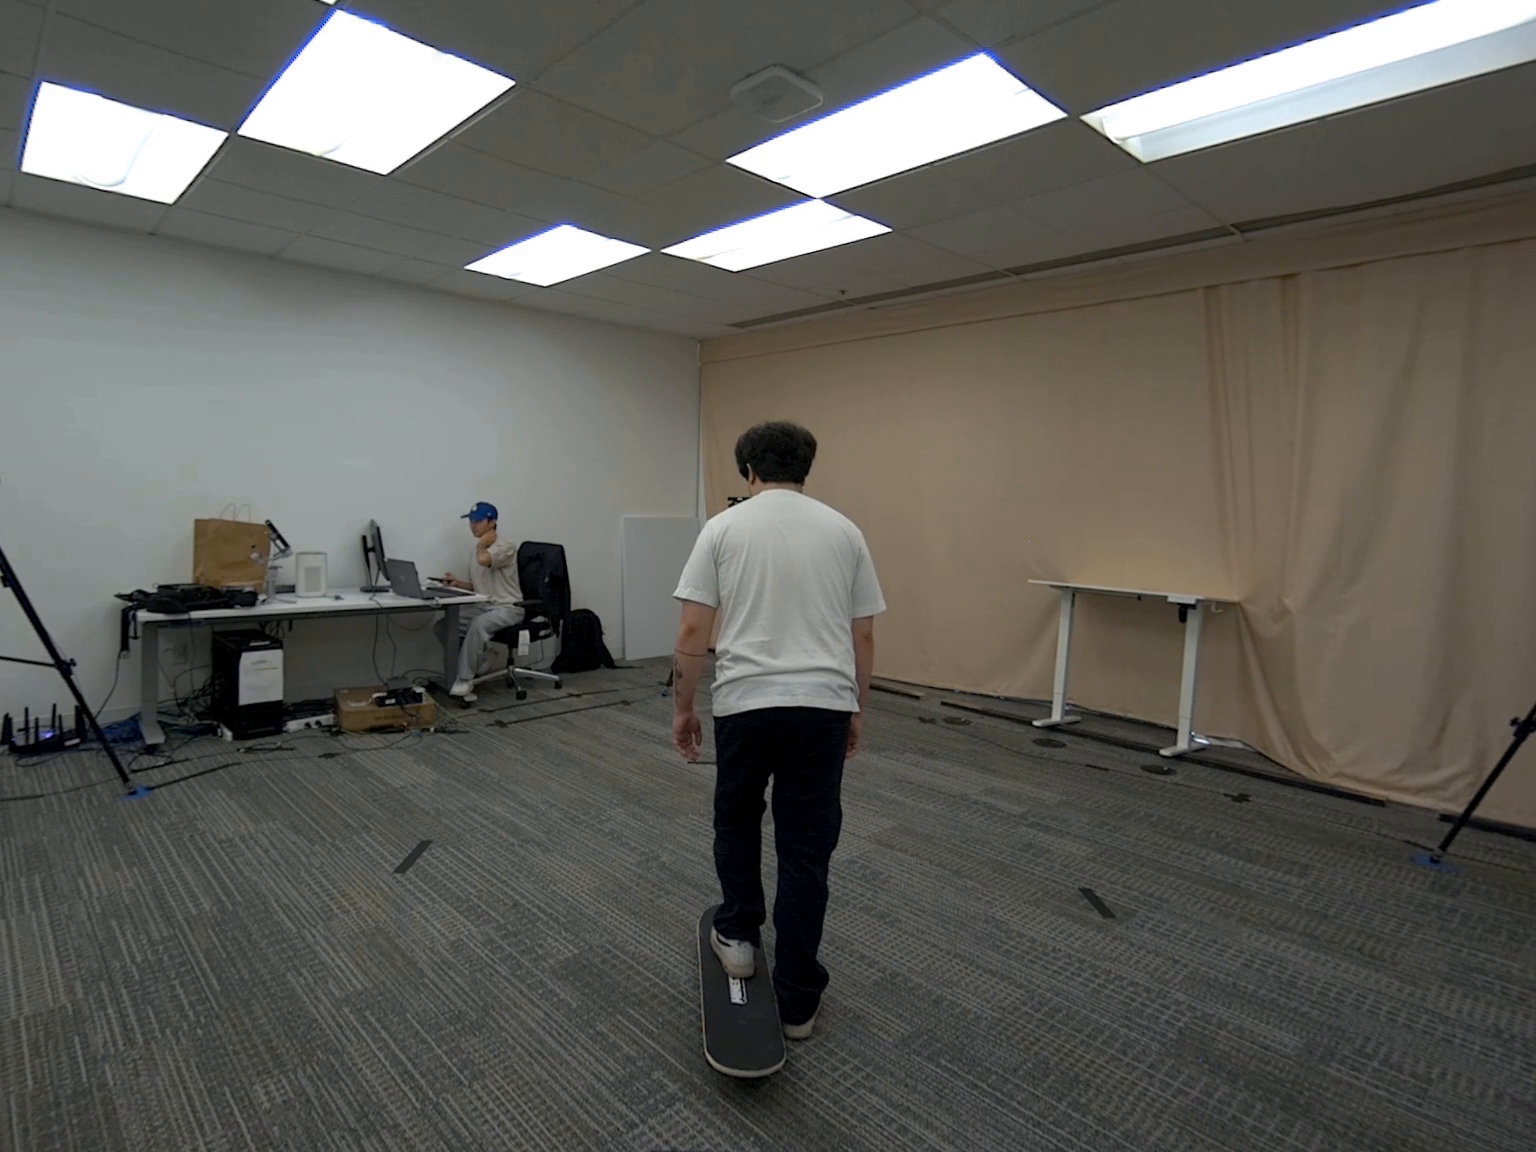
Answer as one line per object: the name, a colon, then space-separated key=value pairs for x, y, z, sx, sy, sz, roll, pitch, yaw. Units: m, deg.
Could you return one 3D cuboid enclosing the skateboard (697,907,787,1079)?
skateboard: x=-0.092 y=1.126 z=2.291 sx=0.192 sy=0.110 sz=0.791 roll=2 pitch=5 yaw=-7
